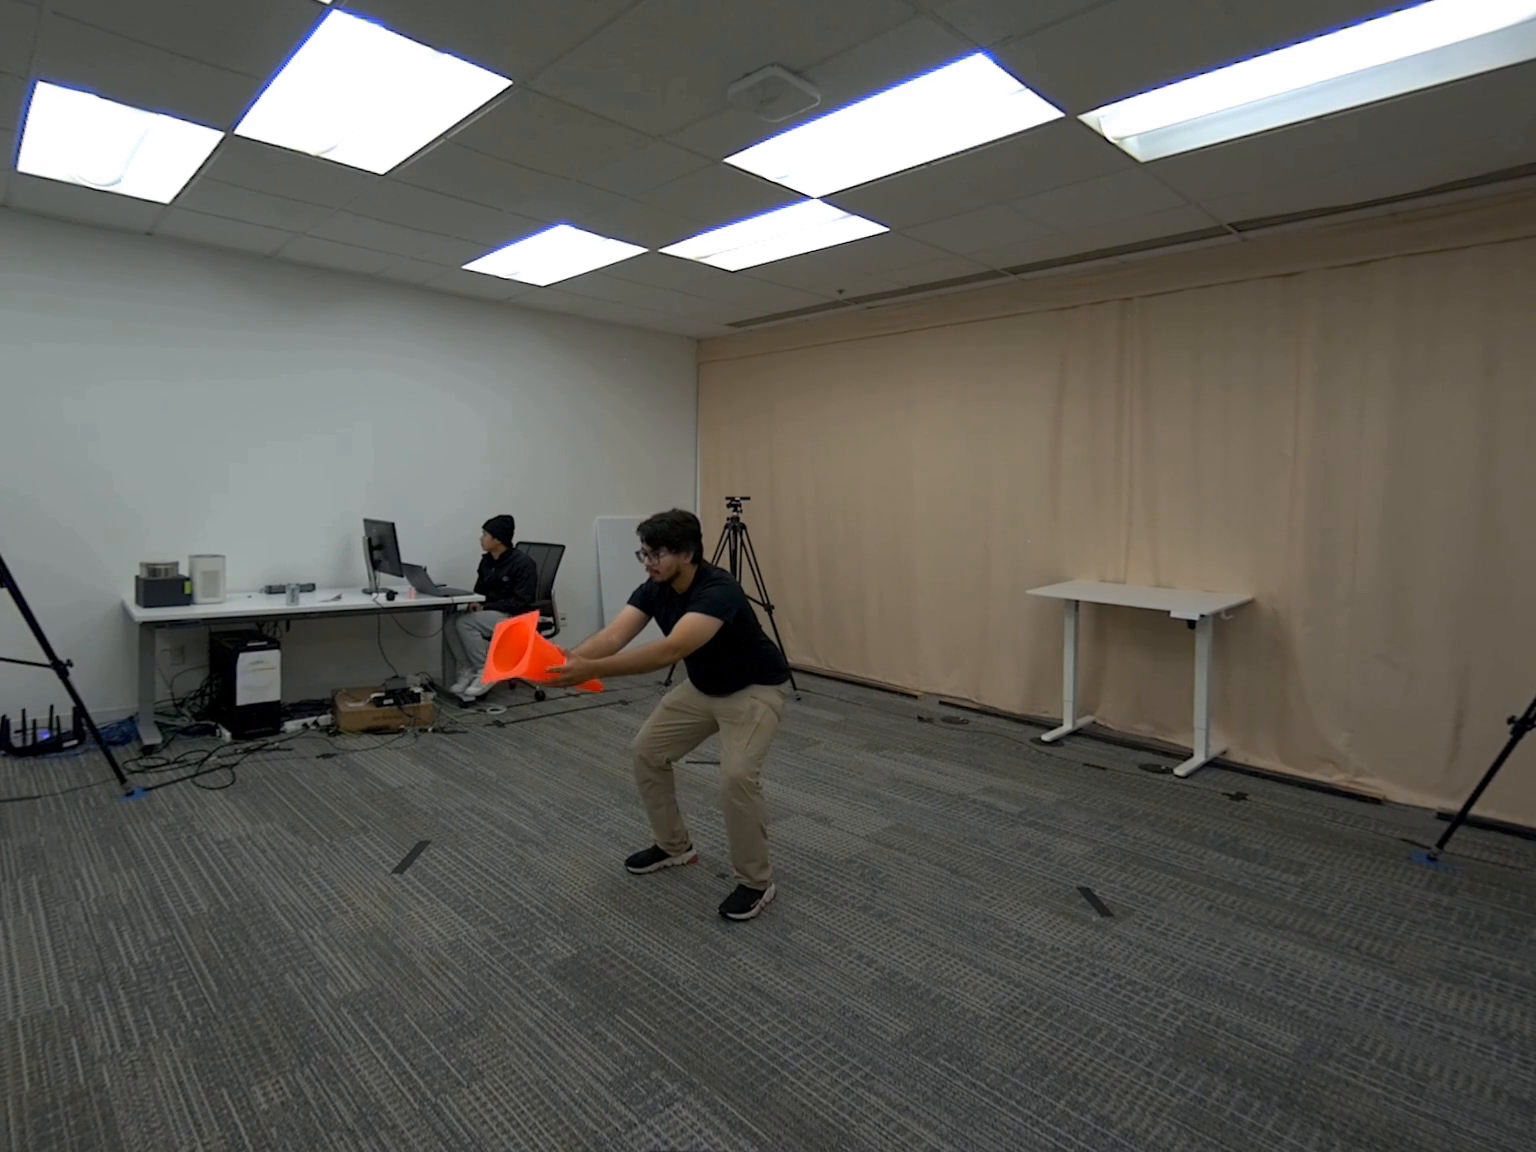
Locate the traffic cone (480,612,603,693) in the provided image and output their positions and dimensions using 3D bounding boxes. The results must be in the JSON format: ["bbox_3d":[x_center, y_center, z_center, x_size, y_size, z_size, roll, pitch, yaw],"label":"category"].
[{"bbox_3d":[-0.651,0.284,2.572,0.208,0.207,0.371,-17,-34,31],"label":"traffic cone"}]
